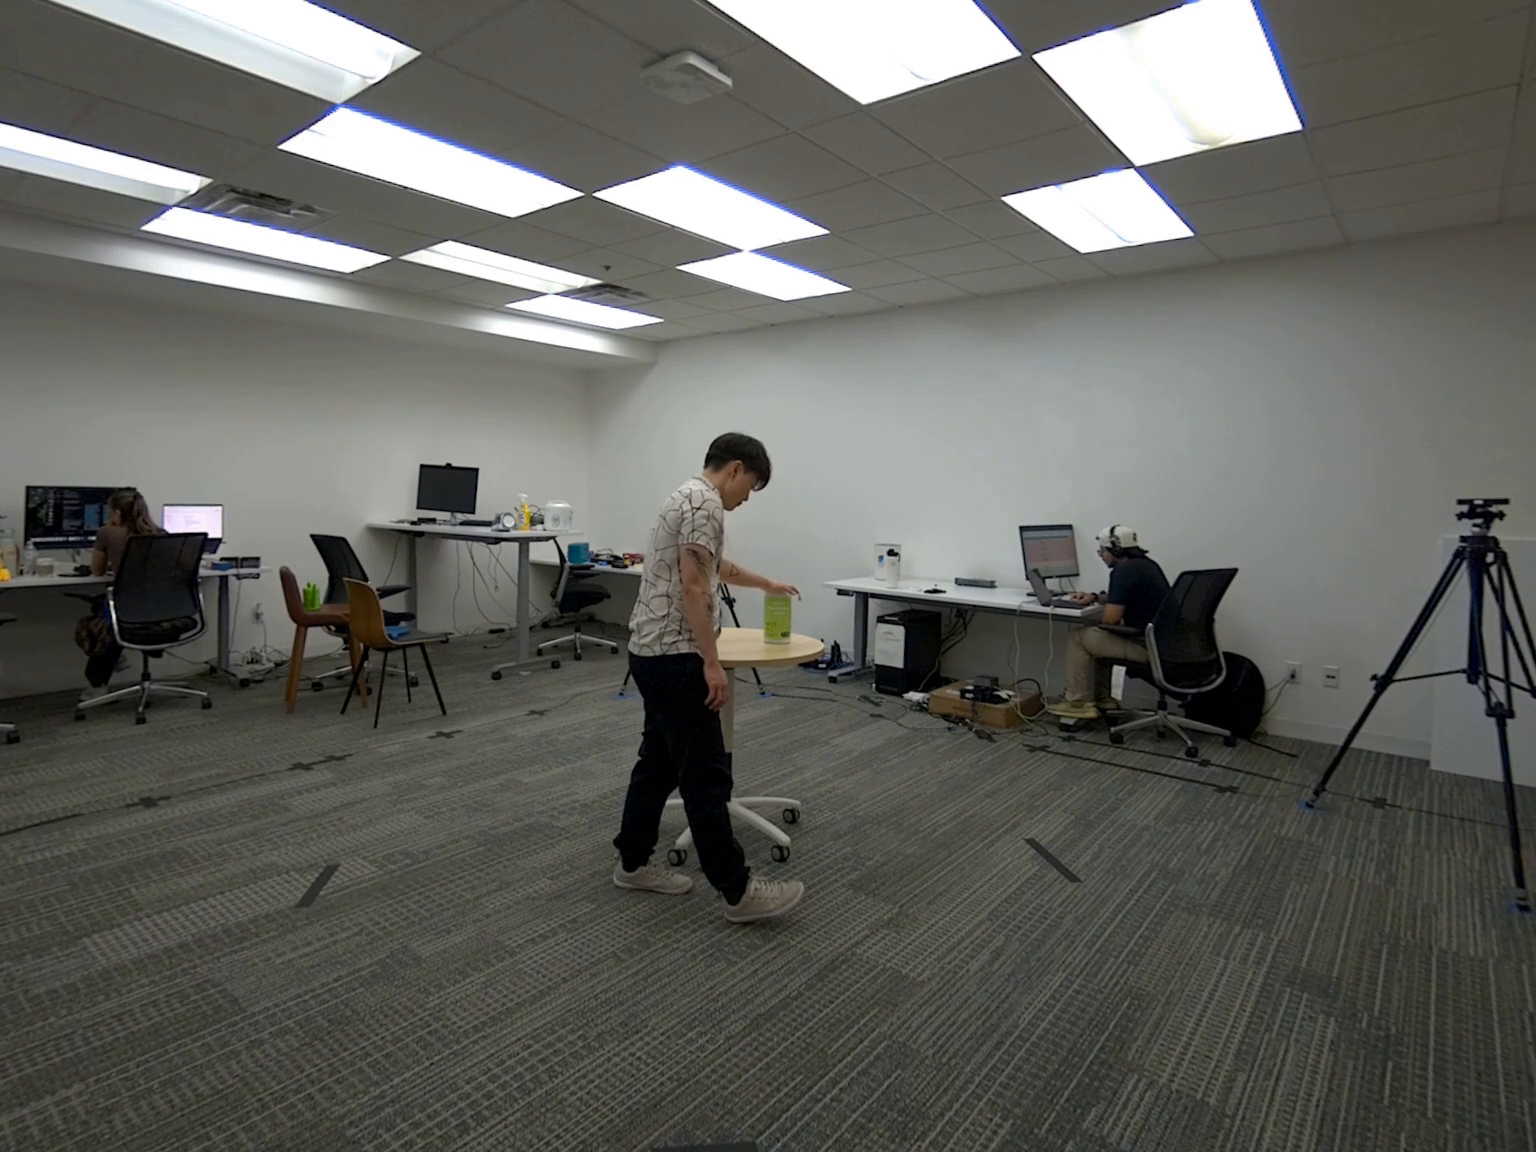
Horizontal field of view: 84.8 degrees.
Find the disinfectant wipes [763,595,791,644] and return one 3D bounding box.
[{"bbox_3d":[0.027,0.157,3.419,0.118,0.217,0.118,0,4,-2],"label":"disinfectant wipes"}]
